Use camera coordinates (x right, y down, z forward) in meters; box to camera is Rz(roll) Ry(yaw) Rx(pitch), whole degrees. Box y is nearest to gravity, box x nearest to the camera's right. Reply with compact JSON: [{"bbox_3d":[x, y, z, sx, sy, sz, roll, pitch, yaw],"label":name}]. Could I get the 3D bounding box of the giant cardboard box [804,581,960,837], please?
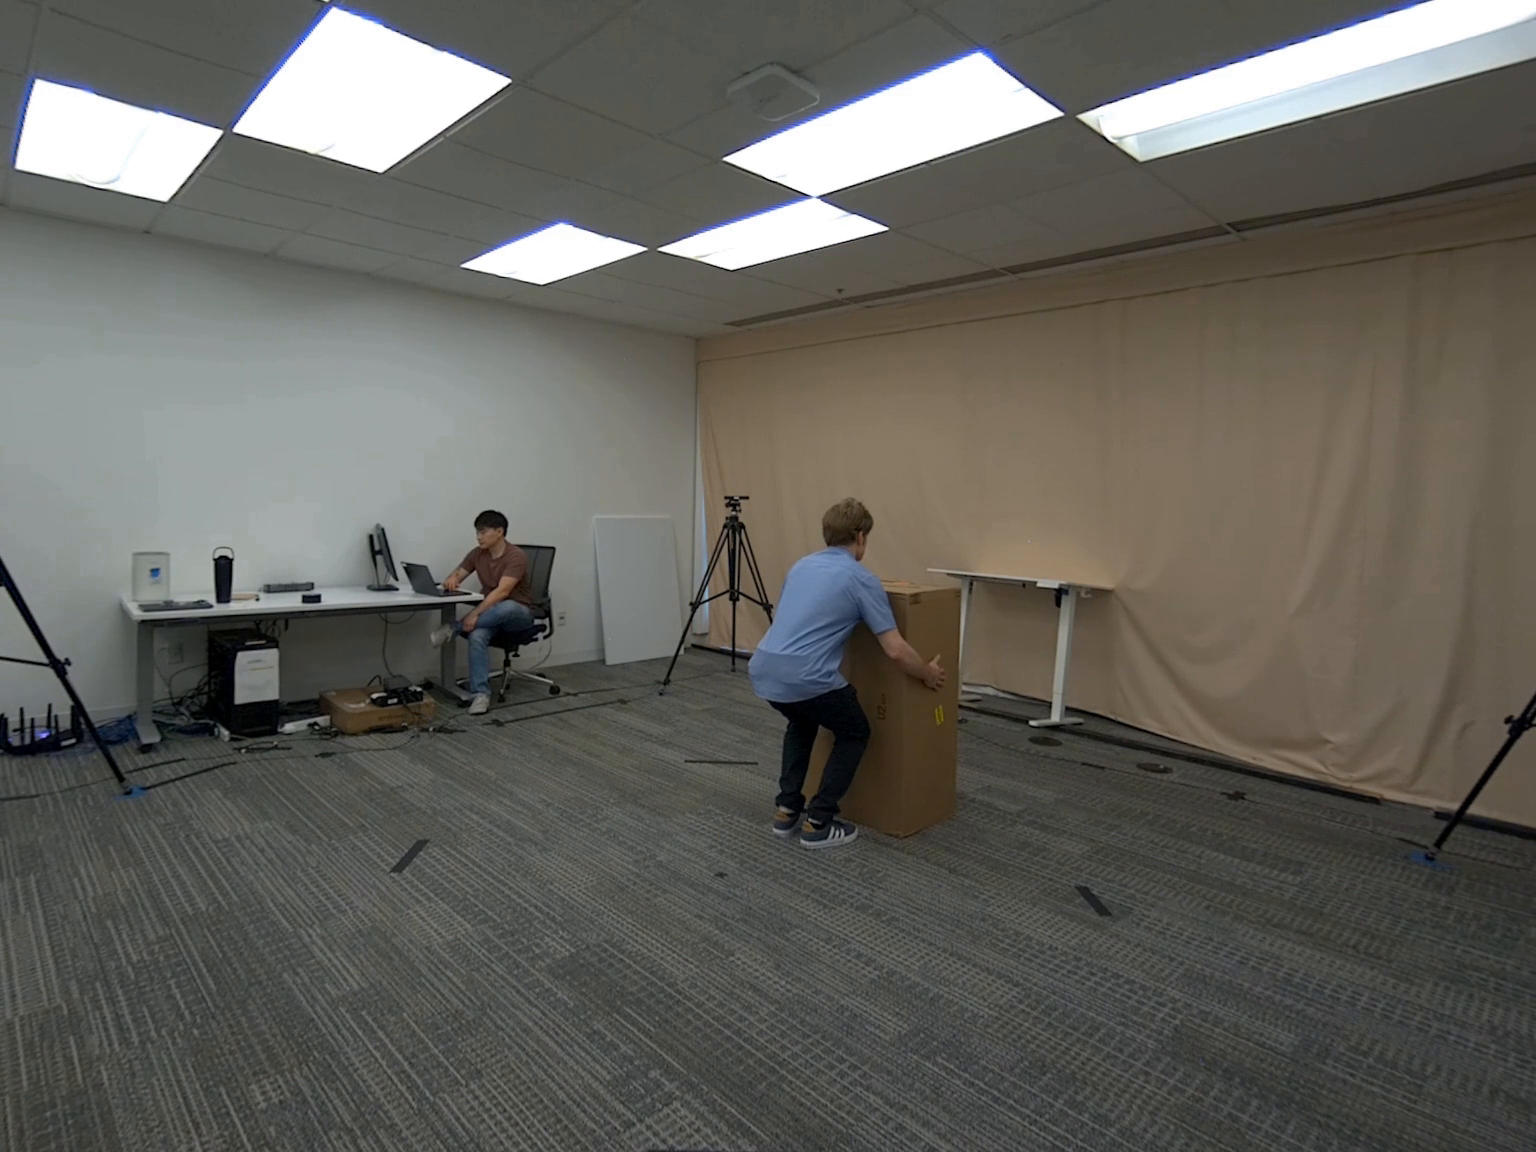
[{"bbox_3d":[0.495,0.549,3.814,0.592,1.023,0.416,4,4,45],"label":"giant cardboard box"}]
